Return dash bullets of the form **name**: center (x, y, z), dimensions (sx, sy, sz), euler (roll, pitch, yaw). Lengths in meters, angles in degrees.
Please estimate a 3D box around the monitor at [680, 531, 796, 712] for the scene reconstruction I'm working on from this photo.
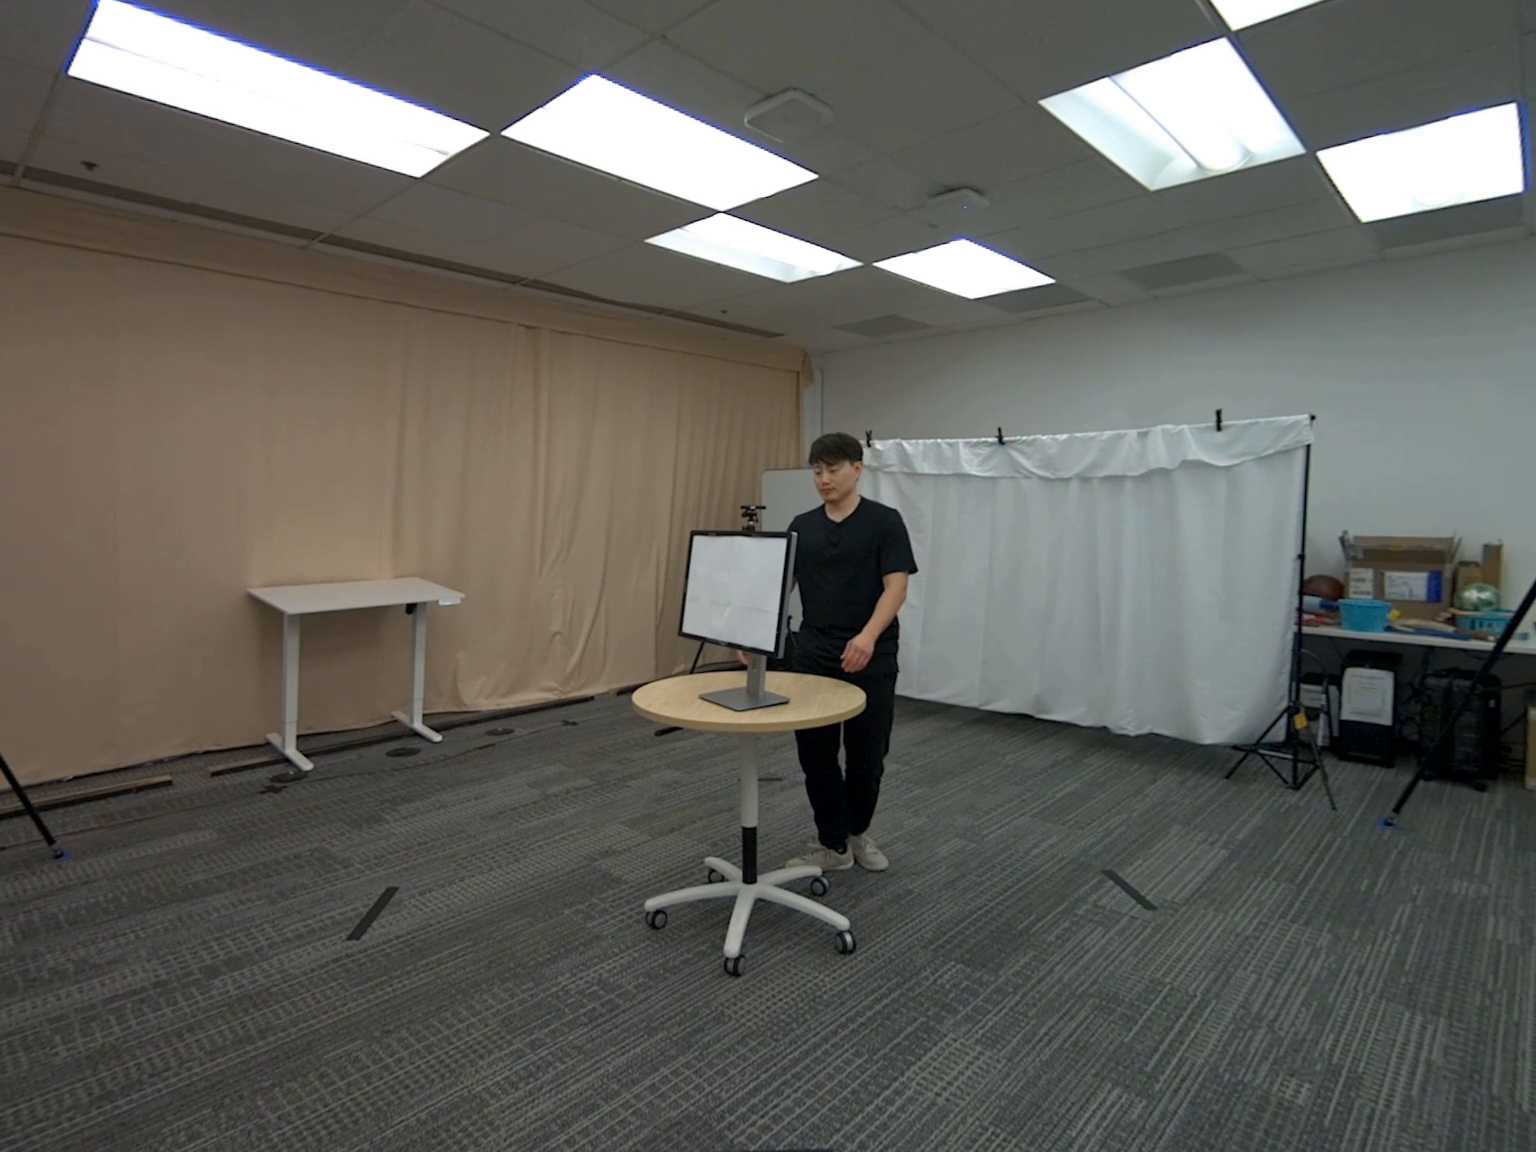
- **monitor**: center (-0.076, 0.132, 2.666), dimensions (0.181, 0.521, 0.556), euler (-4, 5, -38)
